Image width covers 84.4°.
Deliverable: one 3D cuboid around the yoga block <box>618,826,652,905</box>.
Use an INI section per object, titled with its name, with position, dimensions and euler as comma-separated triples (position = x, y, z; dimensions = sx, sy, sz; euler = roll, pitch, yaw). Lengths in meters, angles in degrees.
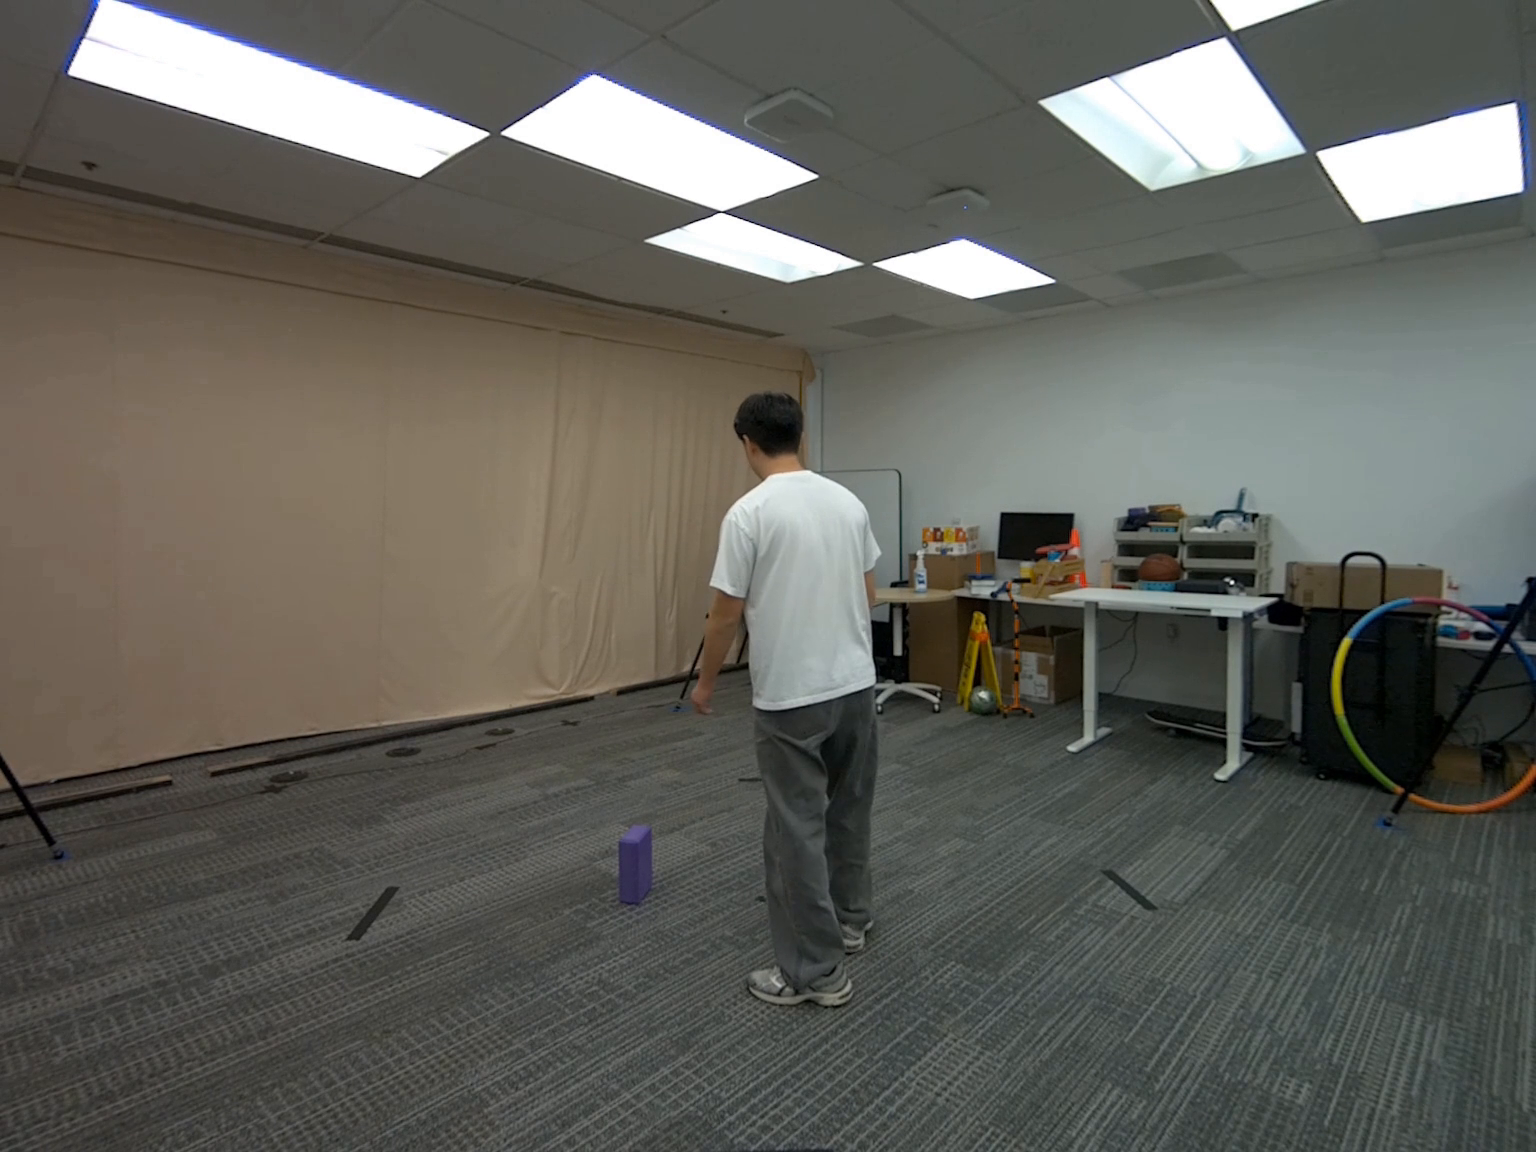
[yoga block]
position = -0.469, 1.031, 3.010
dimensions = 0.077, 0.229, 0.147
euler = 0, 3, 11
